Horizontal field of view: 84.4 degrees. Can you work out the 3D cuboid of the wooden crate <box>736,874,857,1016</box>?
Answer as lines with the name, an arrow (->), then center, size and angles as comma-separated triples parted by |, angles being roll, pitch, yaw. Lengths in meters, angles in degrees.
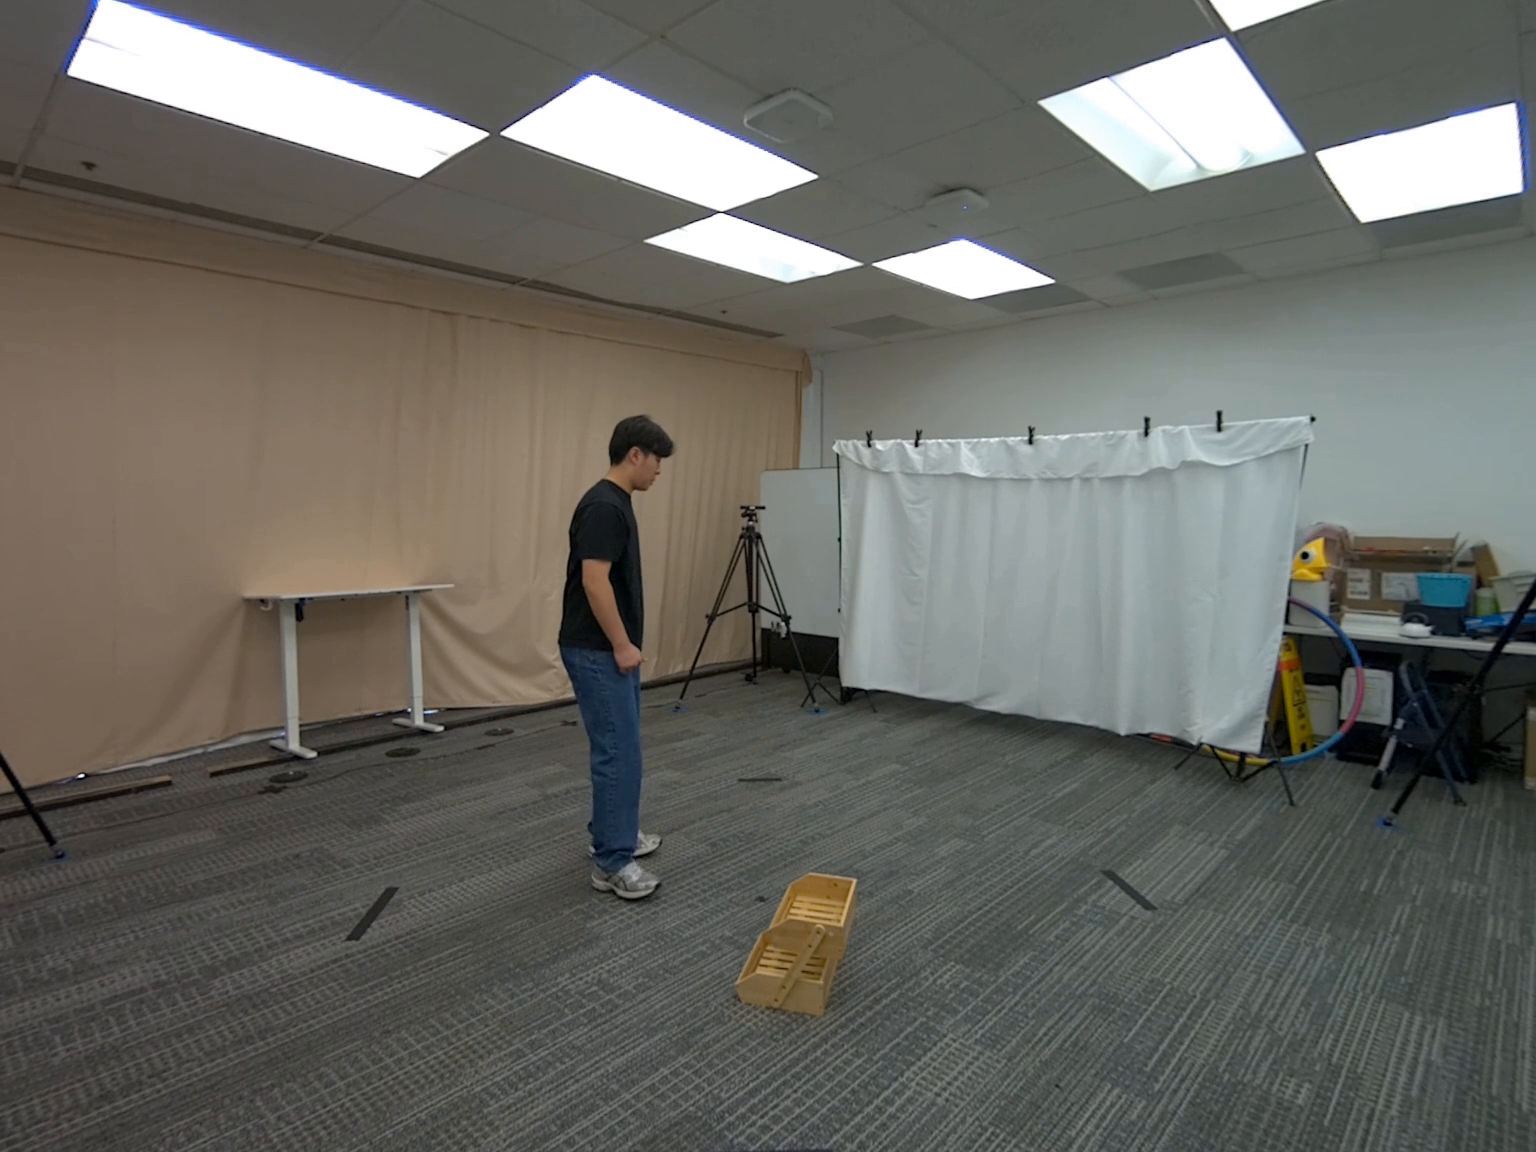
wooden crate -> 0.089, 1.054, 2.456 | 0.307, 0.273, 0.320 | 2, 4, 15
